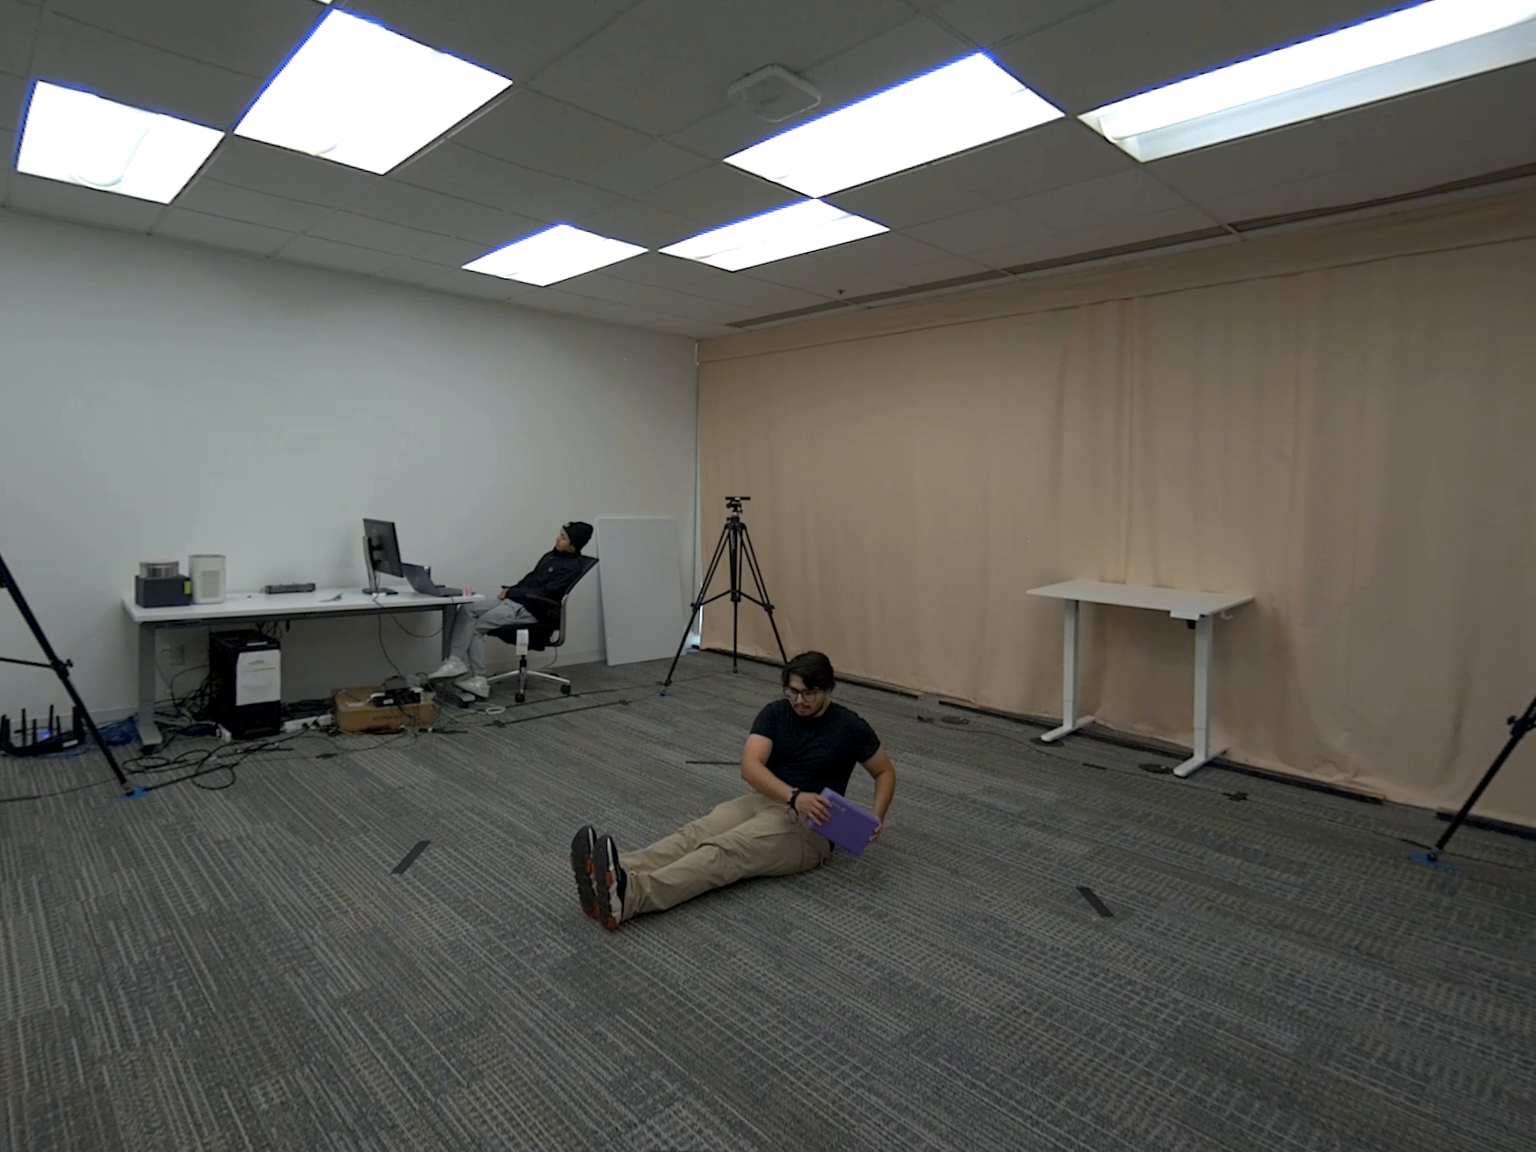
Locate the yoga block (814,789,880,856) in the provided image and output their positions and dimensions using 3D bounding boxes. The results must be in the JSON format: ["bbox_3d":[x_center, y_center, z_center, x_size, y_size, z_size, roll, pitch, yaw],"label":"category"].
[{"bbox_3d":[0.256,0.900,3.066,0.228,0.149,0.077,31,6,-4],"label":"yoga block"}]
